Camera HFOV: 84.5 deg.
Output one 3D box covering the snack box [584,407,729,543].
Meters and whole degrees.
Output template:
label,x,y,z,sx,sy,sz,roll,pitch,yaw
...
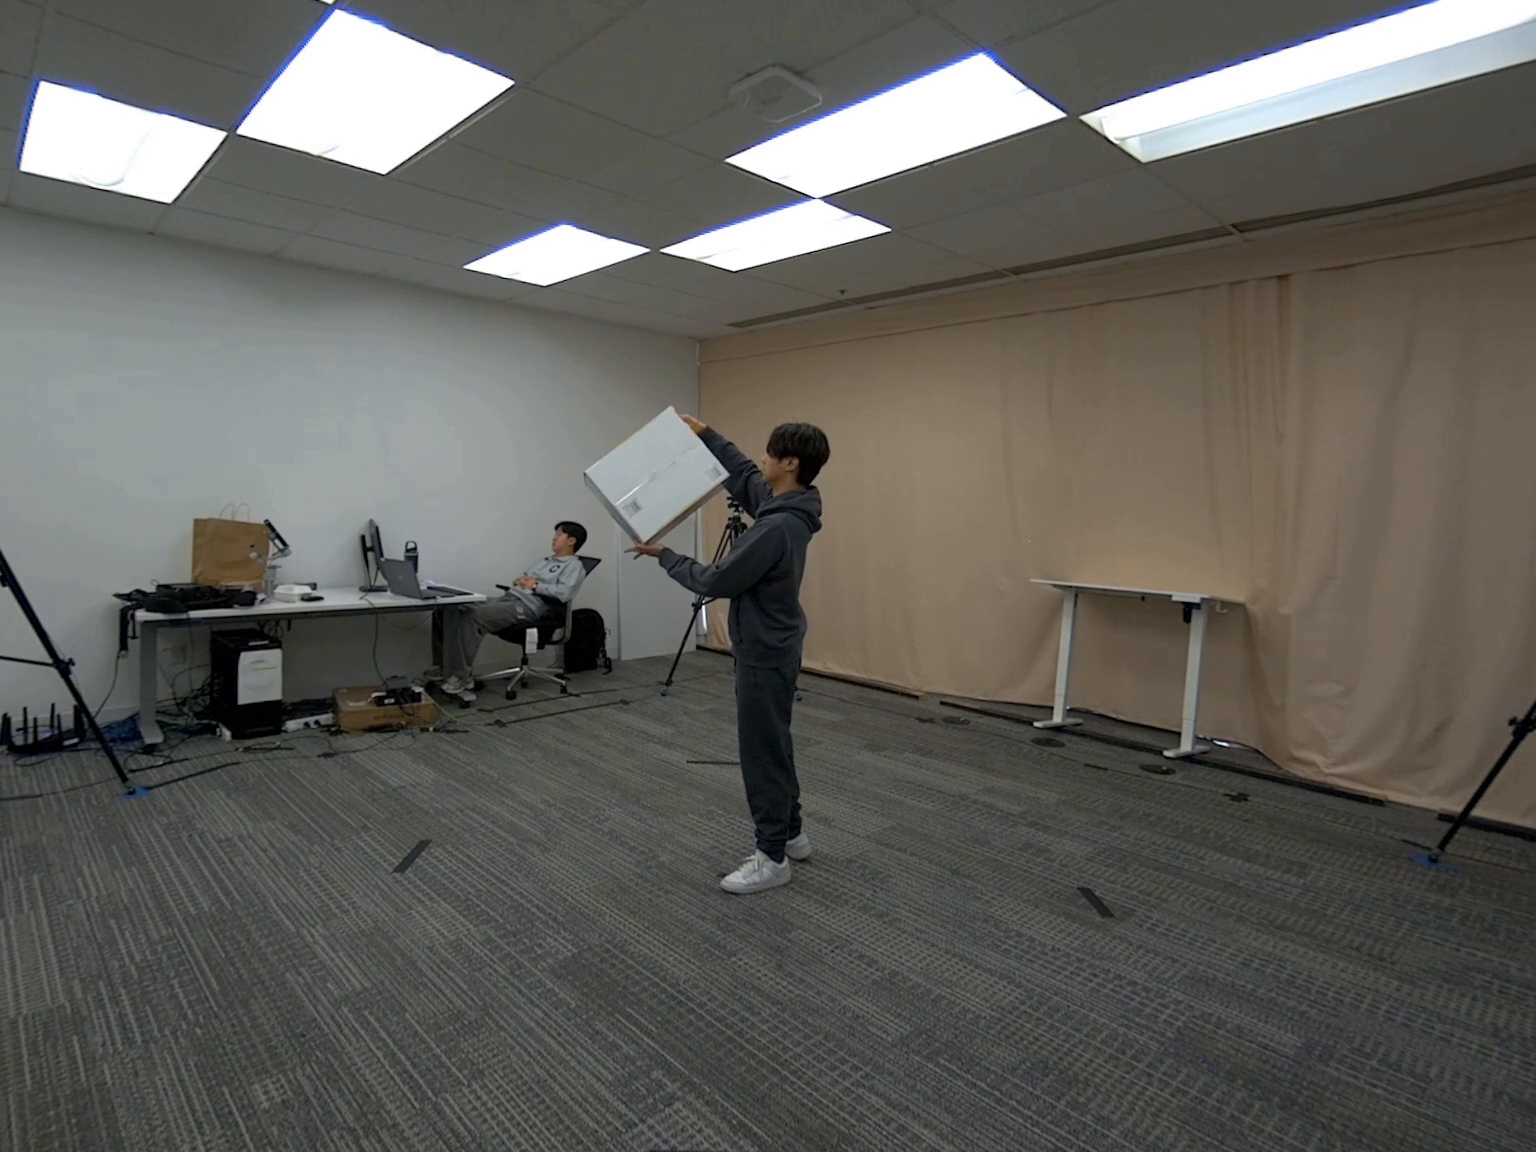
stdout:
label,x,y,z,sx,sy,sz,roll,pitch,yaw
snack box,-0.426,-0.358,3.111,0.404,0.341,0.206,-40,-1,-14
